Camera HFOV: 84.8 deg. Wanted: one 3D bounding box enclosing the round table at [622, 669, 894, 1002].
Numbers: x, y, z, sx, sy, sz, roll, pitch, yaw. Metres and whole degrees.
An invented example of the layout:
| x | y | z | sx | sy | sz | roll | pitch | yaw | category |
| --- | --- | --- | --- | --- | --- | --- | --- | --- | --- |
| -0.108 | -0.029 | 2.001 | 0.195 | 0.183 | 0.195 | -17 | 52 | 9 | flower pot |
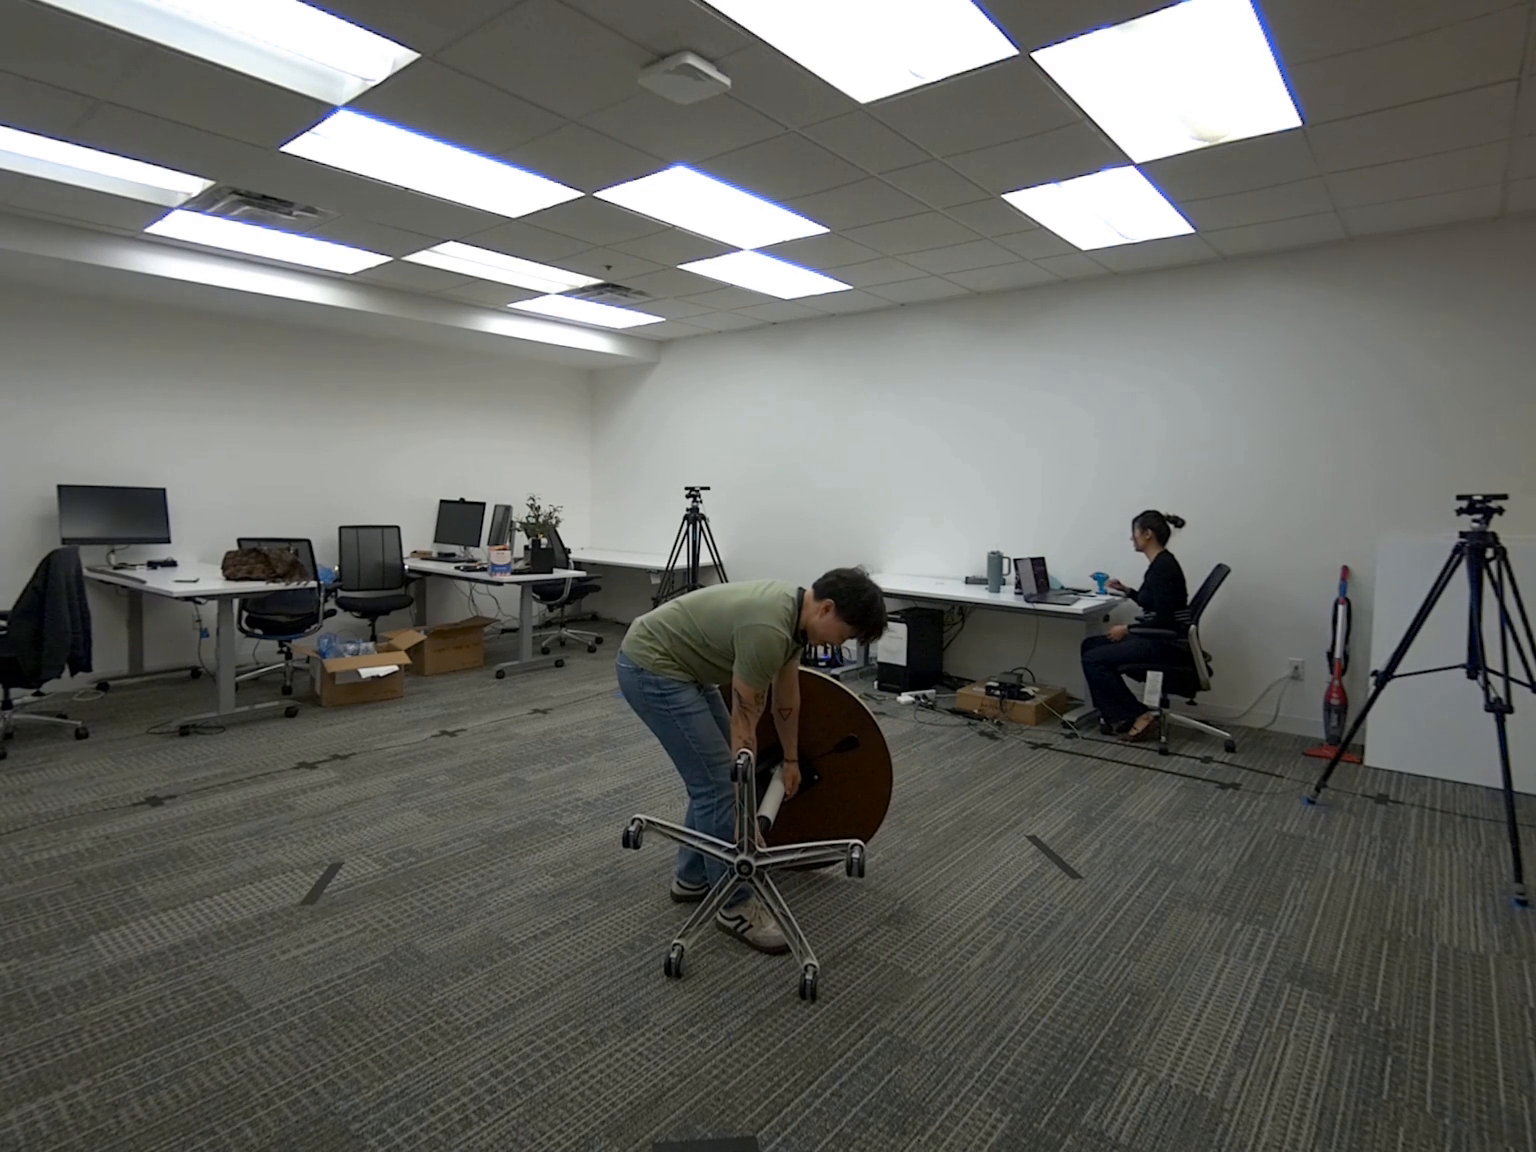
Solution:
| x | y | z | sx | sy | sz | roll | pitch | yaw | category |
| --- | --- | --- | --- | --- | --- | --- | --- | --- | --- |
| -0.009 | 0.766 | 2.689 | 0.774 | 0.757 | 0.791 | 2 | 10 | 11 | round table |
